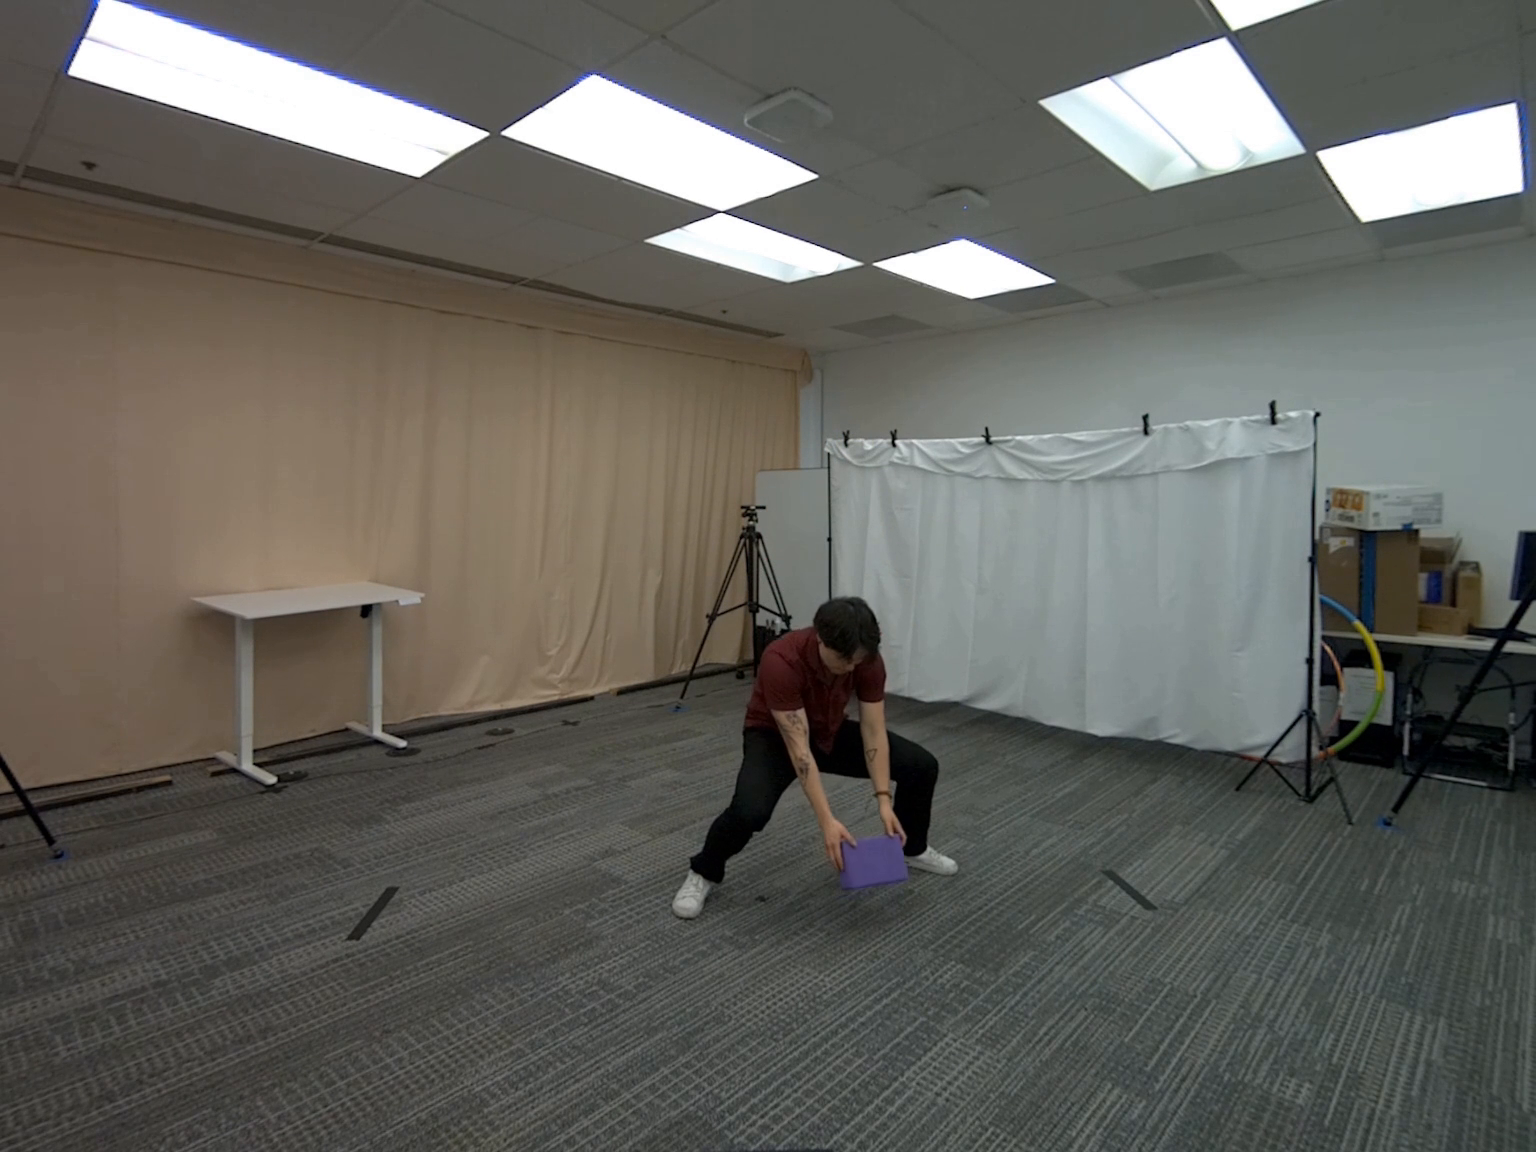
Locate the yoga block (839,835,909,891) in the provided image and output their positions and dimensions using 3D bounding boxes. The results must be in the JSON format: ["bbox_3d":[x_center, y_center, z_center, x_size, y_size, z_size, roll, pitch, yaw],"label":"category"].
[{"bbox_3d":[0.350,0.935,2.768,0.224,0.151,0.077,1,-21,-25],"label":"yoga block"}]
